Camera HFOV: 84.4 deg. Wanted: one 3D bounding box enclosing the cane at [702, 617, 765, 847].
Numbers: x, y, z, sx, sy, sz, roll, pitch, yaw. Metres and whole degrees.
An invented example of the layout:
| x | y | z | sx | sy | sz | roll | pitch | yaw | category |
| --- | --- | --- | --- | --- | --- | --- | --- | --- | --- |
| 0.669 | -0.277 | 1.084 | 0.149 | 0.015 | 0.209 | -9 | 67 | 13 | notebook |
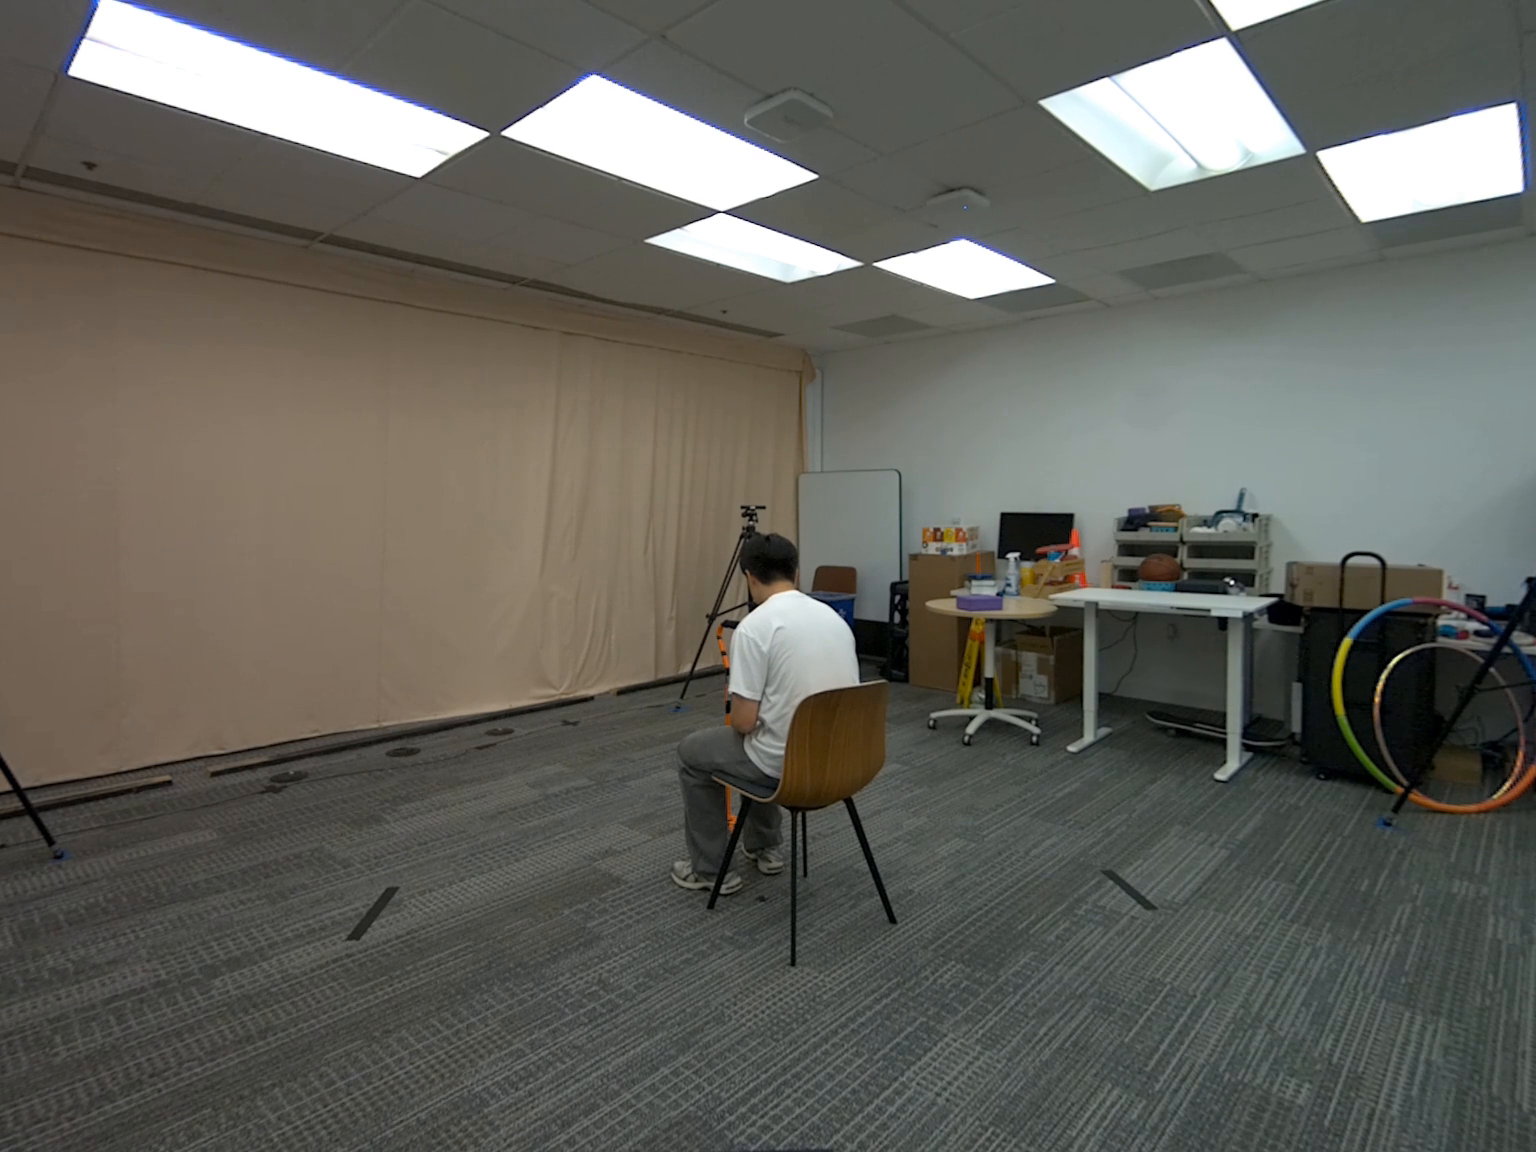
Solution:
| x | y | z | sx | sy | sz | roll | pitch | yaw | category |
| --- | --- | --- | --- | --- | --- | --- | --- | --- | --- |
| -0.148 | 0.640 | 3.572 | 0.147 | 0.907 | 0.213 | -2 | 3 | -41 | cane |
